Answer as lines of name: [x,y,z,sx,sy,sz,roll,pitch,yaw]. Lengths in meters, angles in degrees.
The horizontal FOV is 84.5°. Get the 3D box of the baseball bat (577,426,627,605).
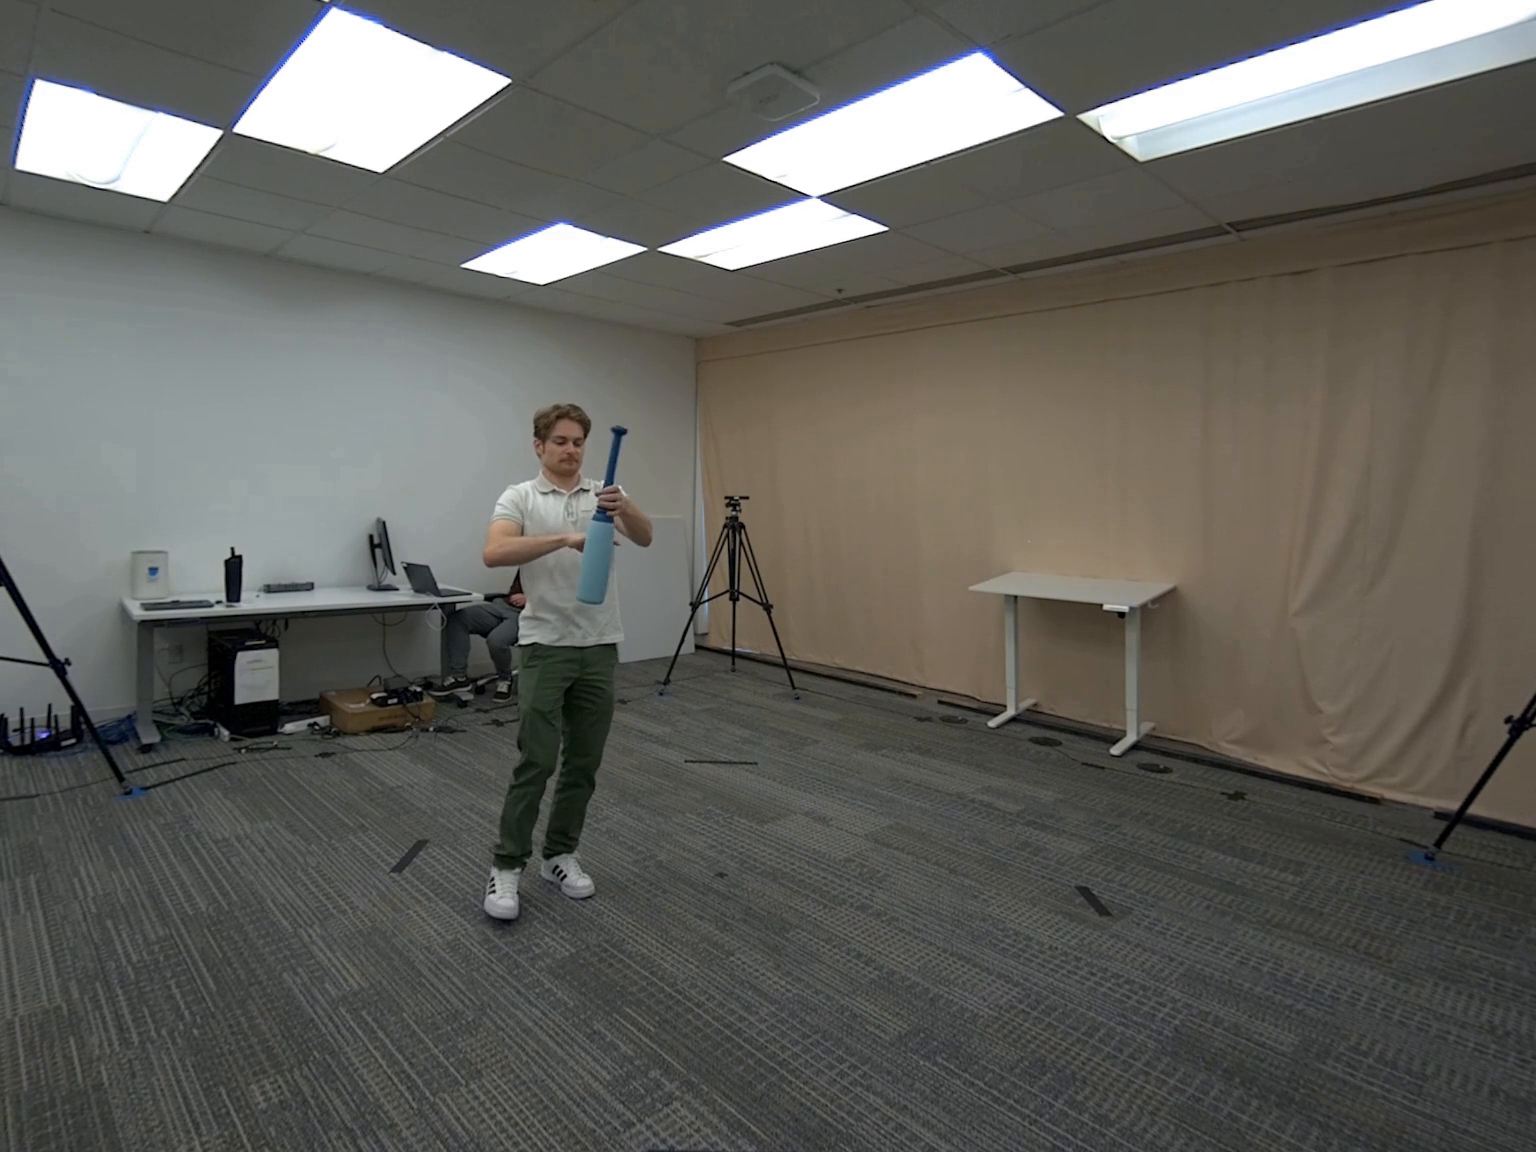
baseball bat: [-0.504,-0.186,2.525,0.089,0.542,0.089,10,2,-2]
